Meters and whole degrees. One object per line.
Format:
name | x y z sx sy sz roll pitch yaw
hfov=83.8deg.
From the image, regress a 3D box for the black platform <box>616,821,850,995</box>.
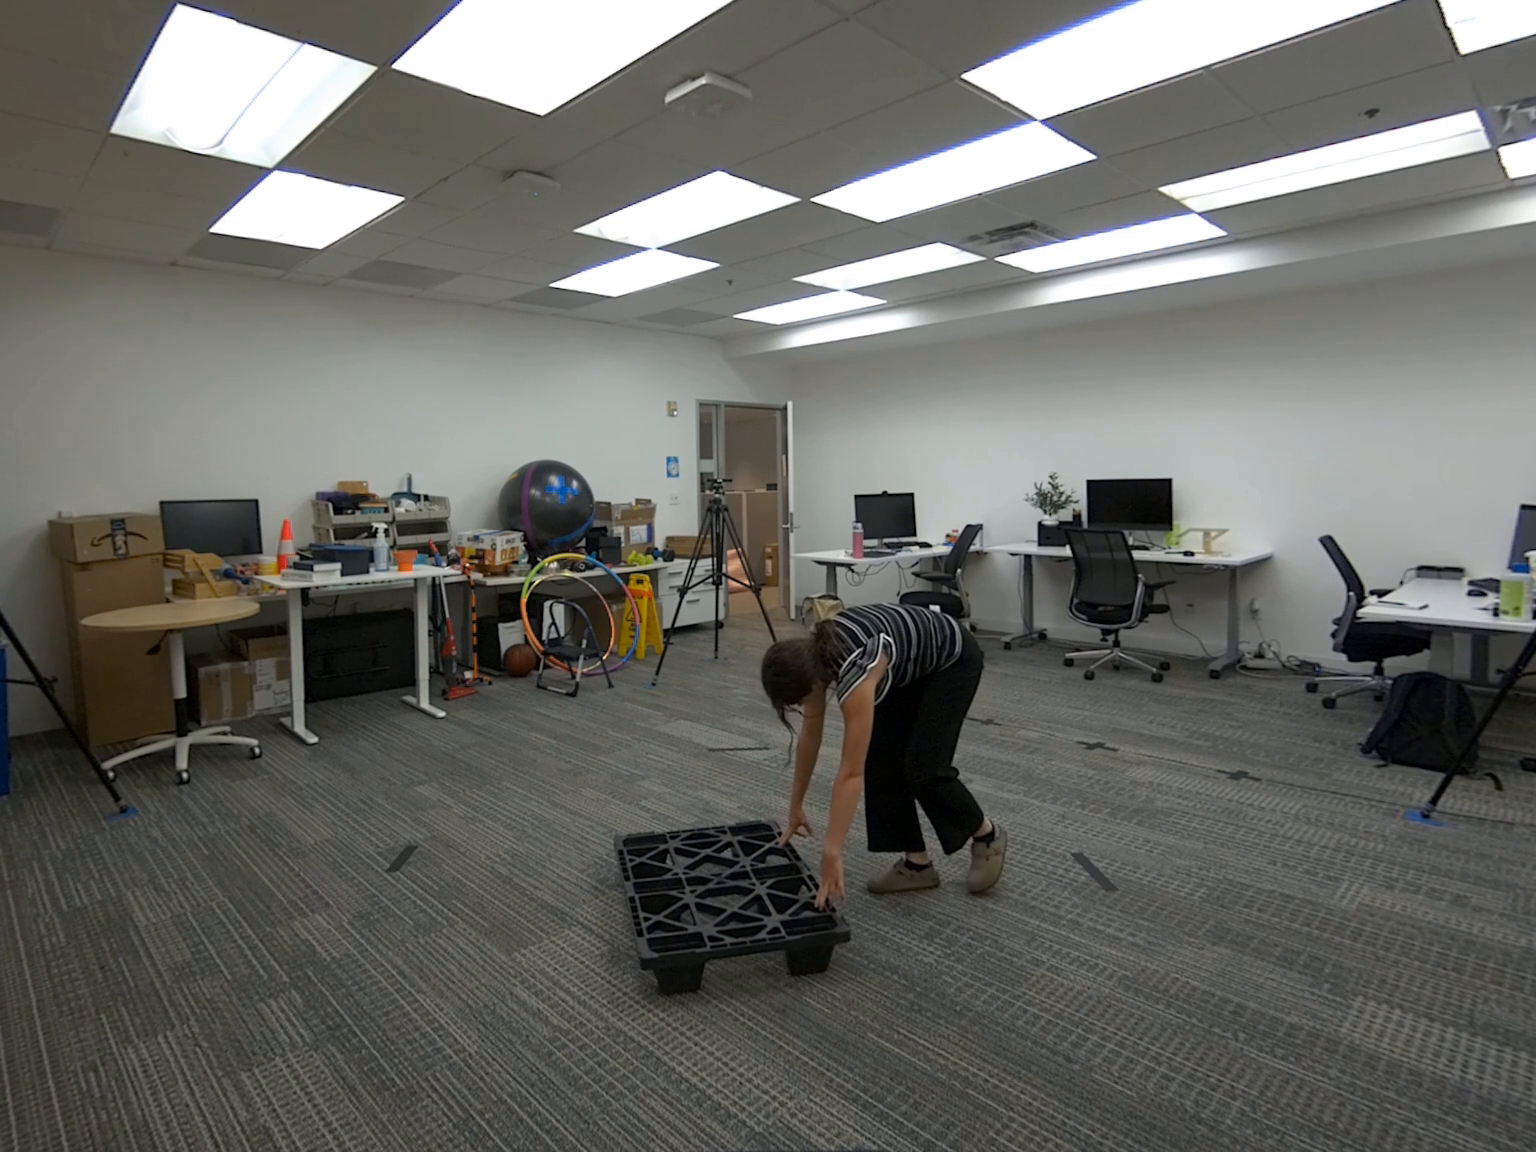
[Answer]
black platform | -0.153 1.023 2.722 0.598 0.142 0.820 -4 7 -14
